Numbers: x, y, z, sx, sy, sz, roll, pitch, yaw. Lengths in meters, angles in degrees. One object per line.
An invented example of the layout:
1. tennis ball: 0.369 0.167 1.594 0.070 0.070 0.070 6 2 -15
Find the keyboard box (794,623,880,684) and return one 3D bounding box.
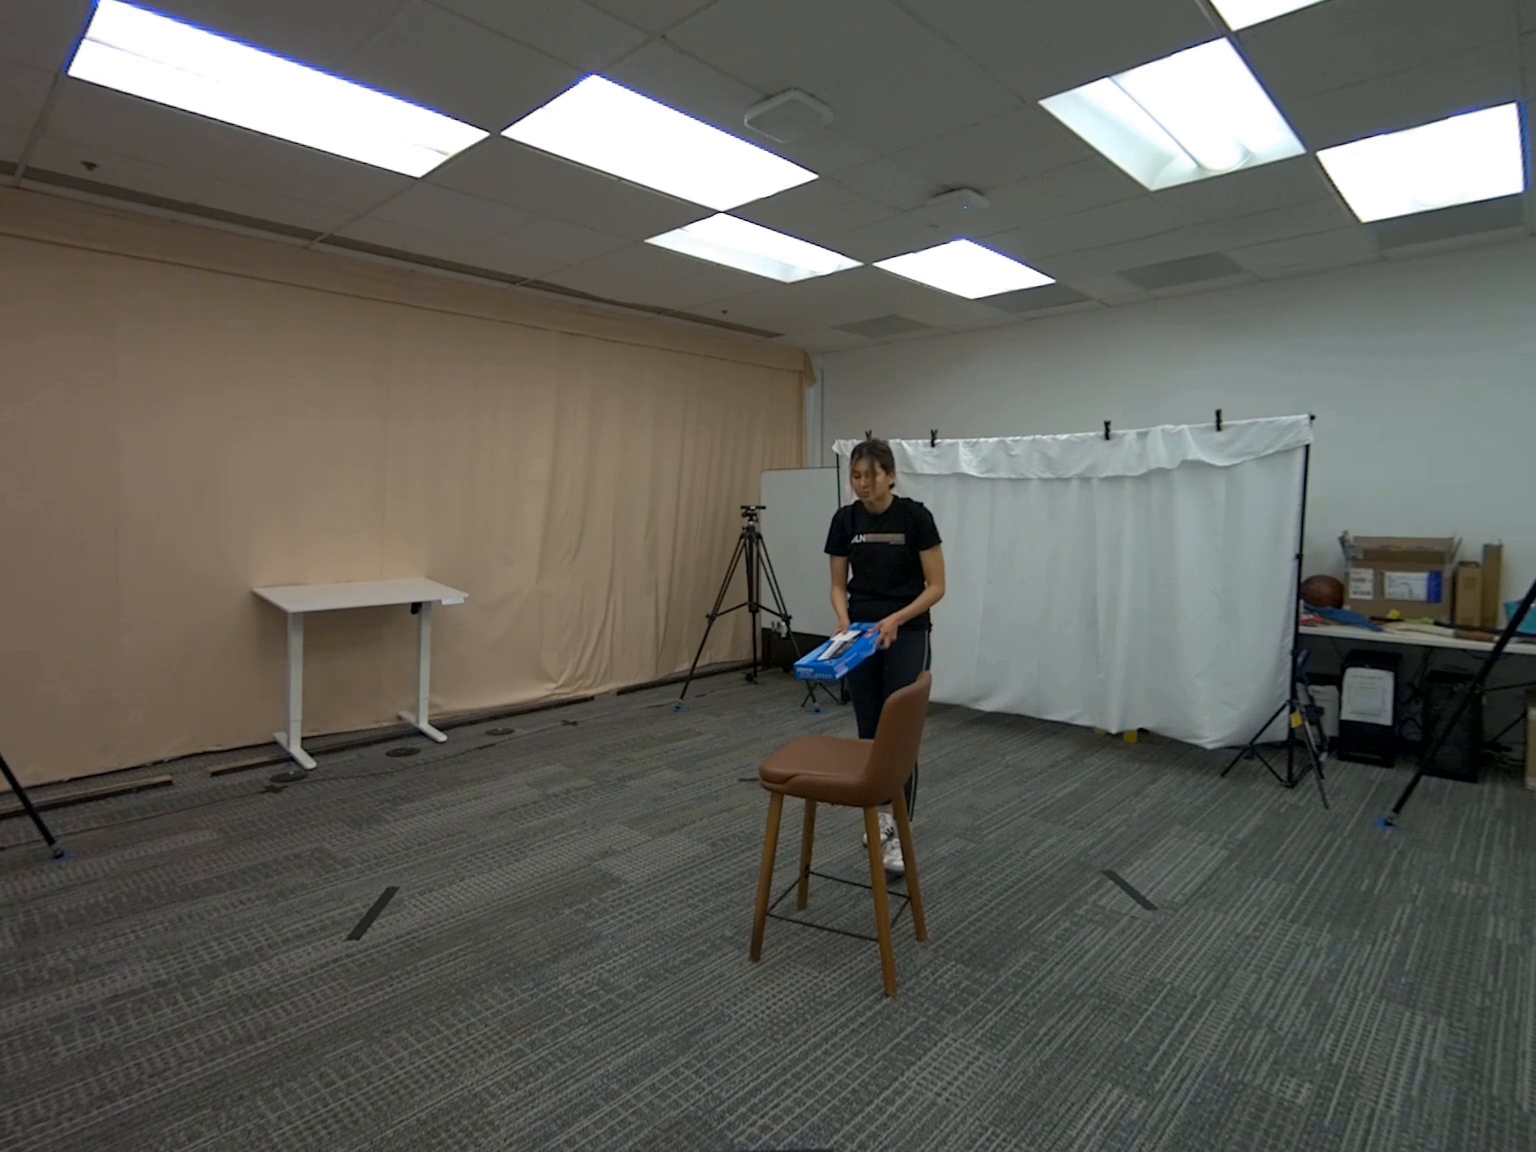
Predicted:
1. keyboard box: 0.293 0.279 3.139 0.181 0.058 0.428 -3 16 40
